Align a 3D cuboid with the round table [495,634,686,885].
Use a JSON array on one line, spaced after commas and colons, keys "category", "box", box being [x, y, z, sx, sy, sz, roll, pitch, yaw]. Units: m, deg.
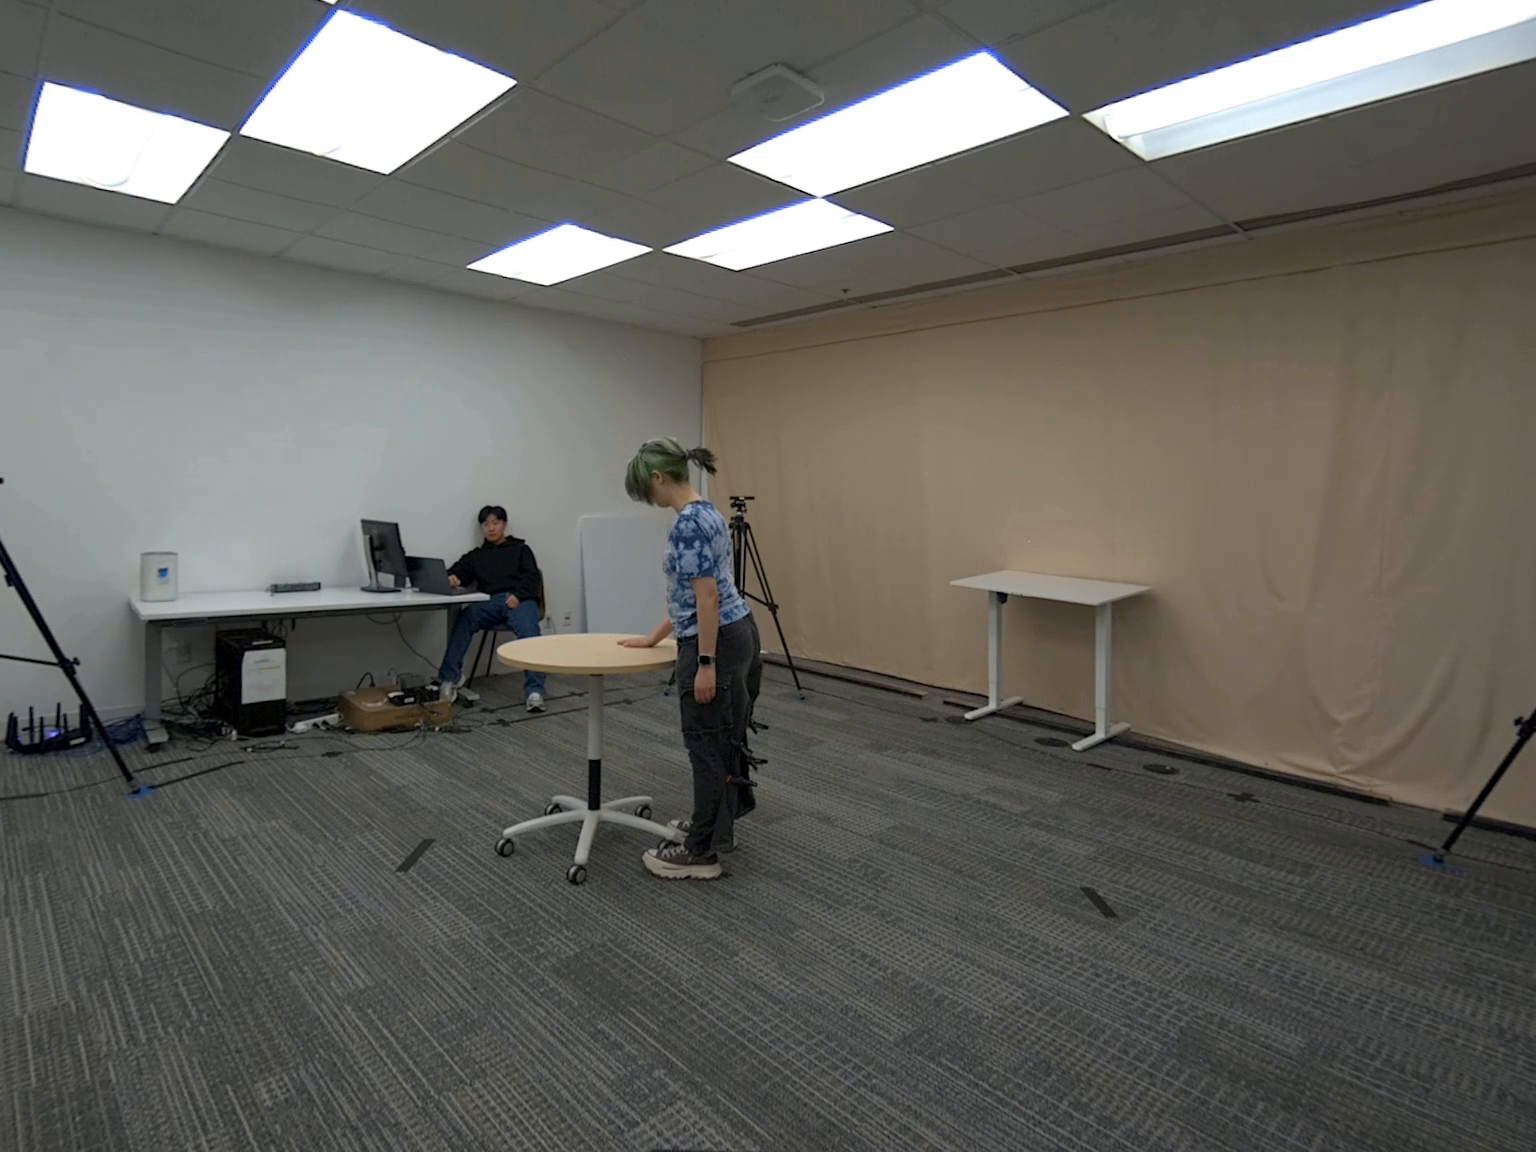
[{"category": "round table", "box": [-0.680, 0.674, 3.352, 0.784, 0.784, 0.788, 1, 4, -1]}]
